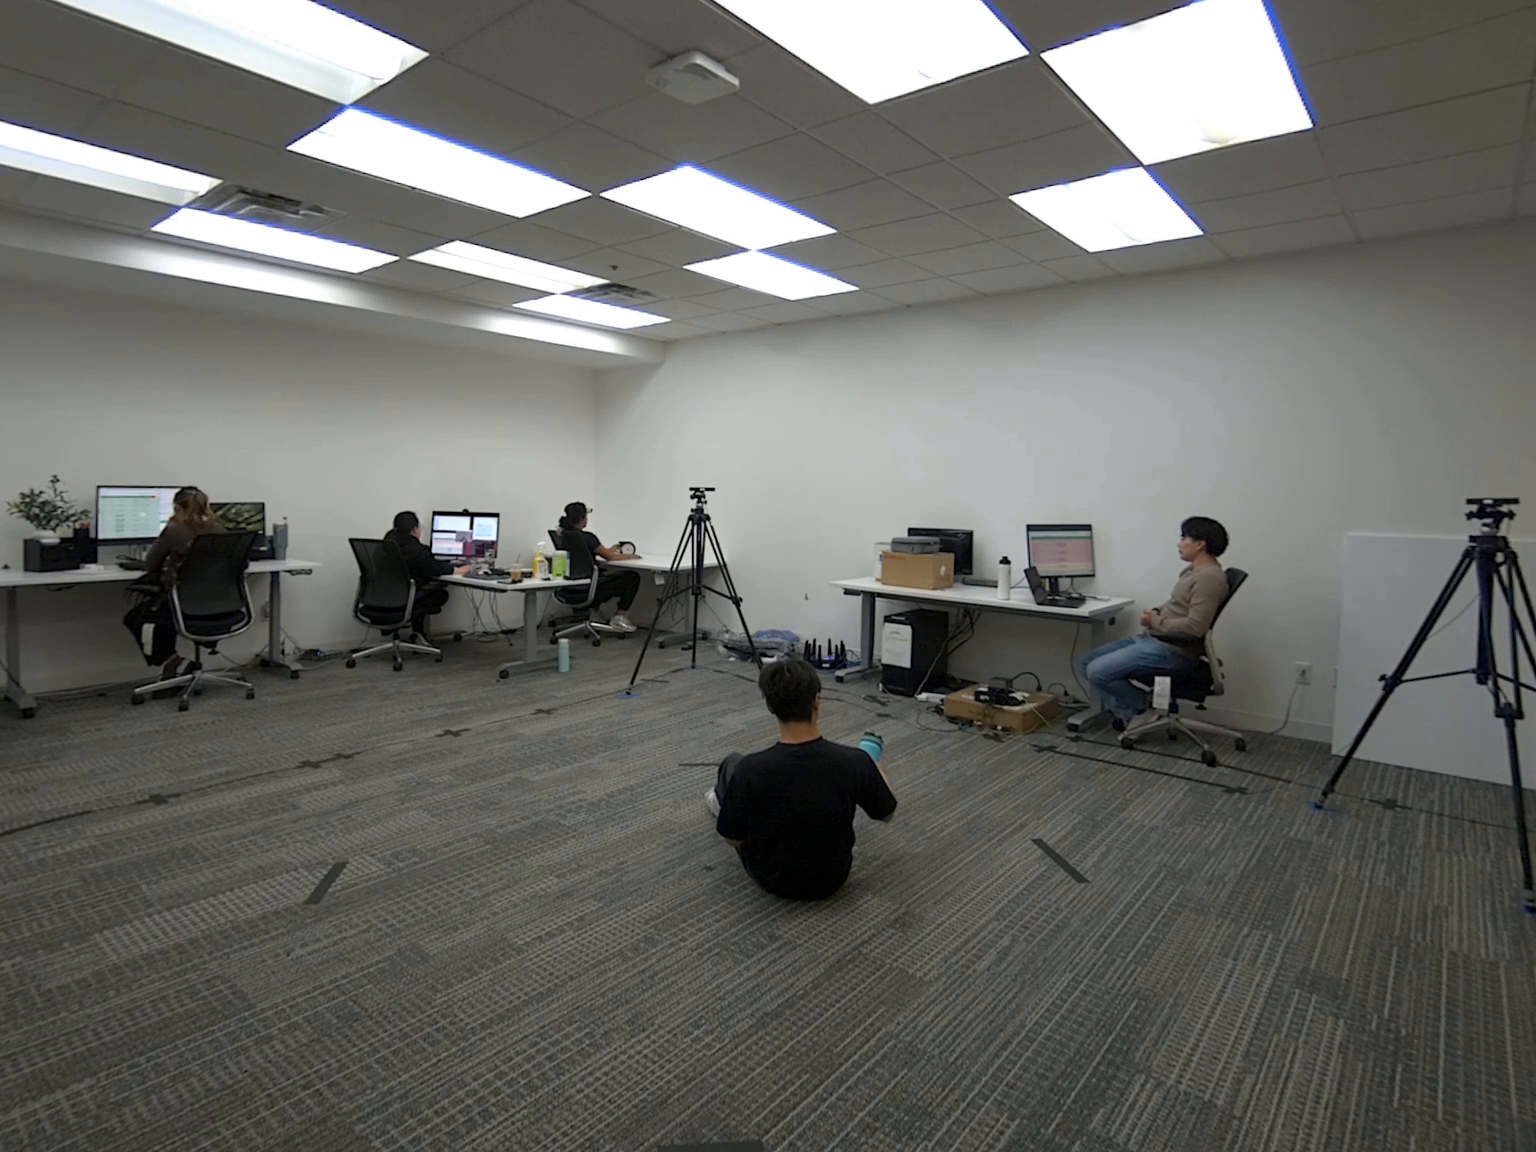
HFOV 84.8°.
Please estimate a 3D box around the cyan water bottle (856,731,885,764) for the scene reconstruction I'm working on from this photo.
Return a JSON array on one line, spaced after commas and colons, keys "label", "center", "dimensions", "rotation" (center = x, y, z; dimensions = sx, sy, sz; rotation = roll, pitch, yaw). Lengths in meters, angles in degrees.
[{"label": "cyan water bottle", "center": [0.375, 0.740, 3.346], "dimensions": [0.093, 0.287, 0.090], "rotation": [16, -26, 6]}]
